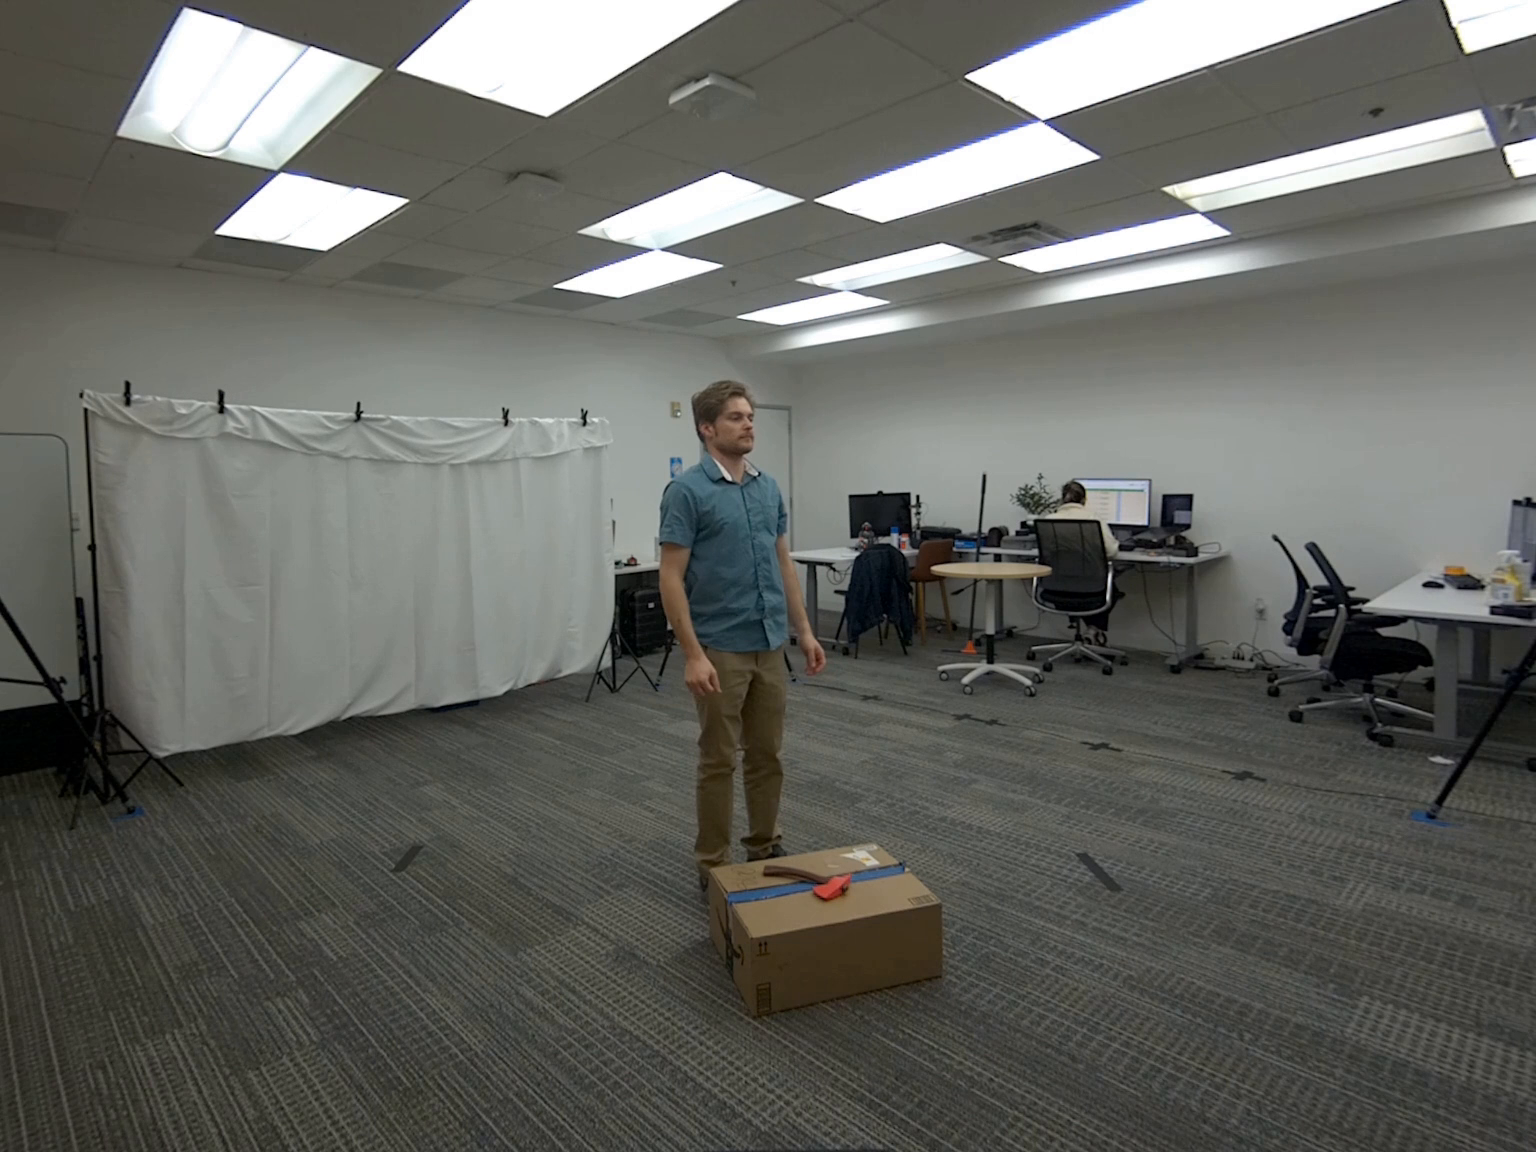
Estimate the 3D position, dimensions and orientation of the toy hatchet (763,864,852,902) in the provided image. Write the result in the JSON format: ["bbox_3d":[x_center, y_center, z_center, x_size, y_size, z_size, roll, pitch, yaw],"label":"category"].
[{"bbox_3d":[0.103,0.883,2.478,0.275,0.029,0.129,-2,11,23],"label":"toy hatchet"}]
